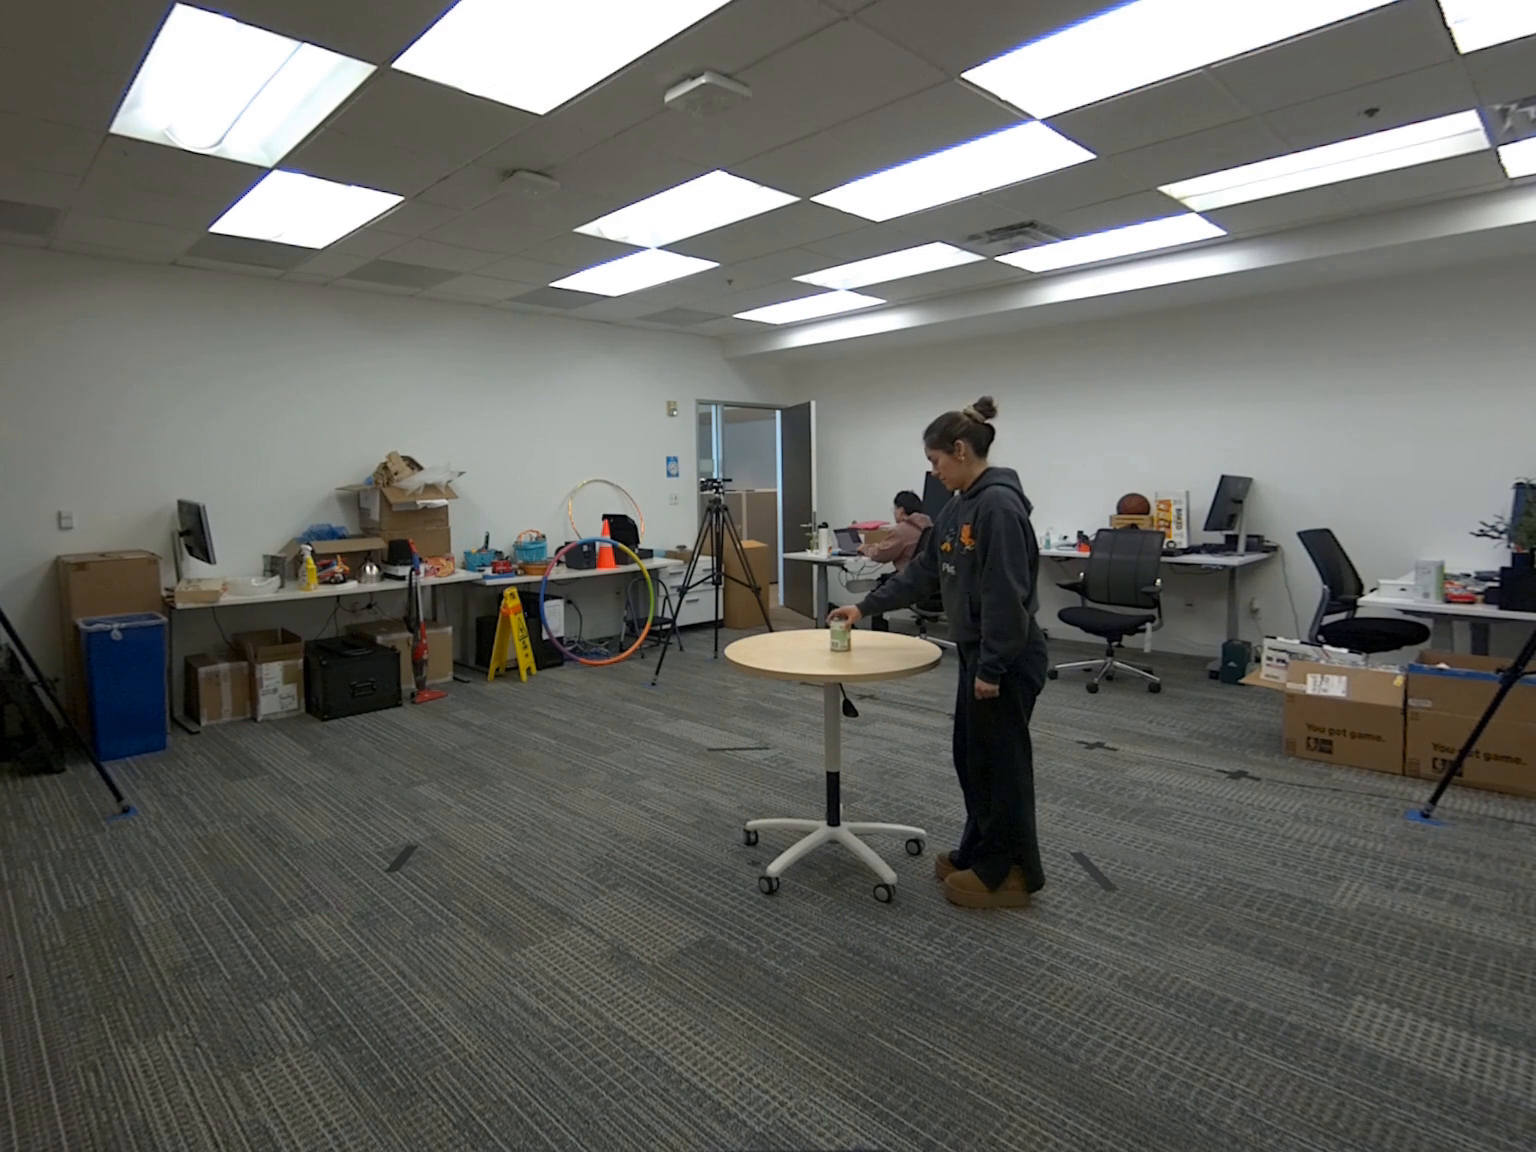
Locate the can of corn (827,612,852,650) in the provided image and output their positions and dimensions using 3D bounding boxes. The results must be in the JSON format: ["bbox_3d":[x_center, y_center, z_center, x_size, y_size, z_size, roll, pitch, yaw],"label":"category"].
[{"bbox_3d":[0.280,0.167,3.025,0.074,0.111,0.074,3,3,-2],"label":"can of corn"}]
